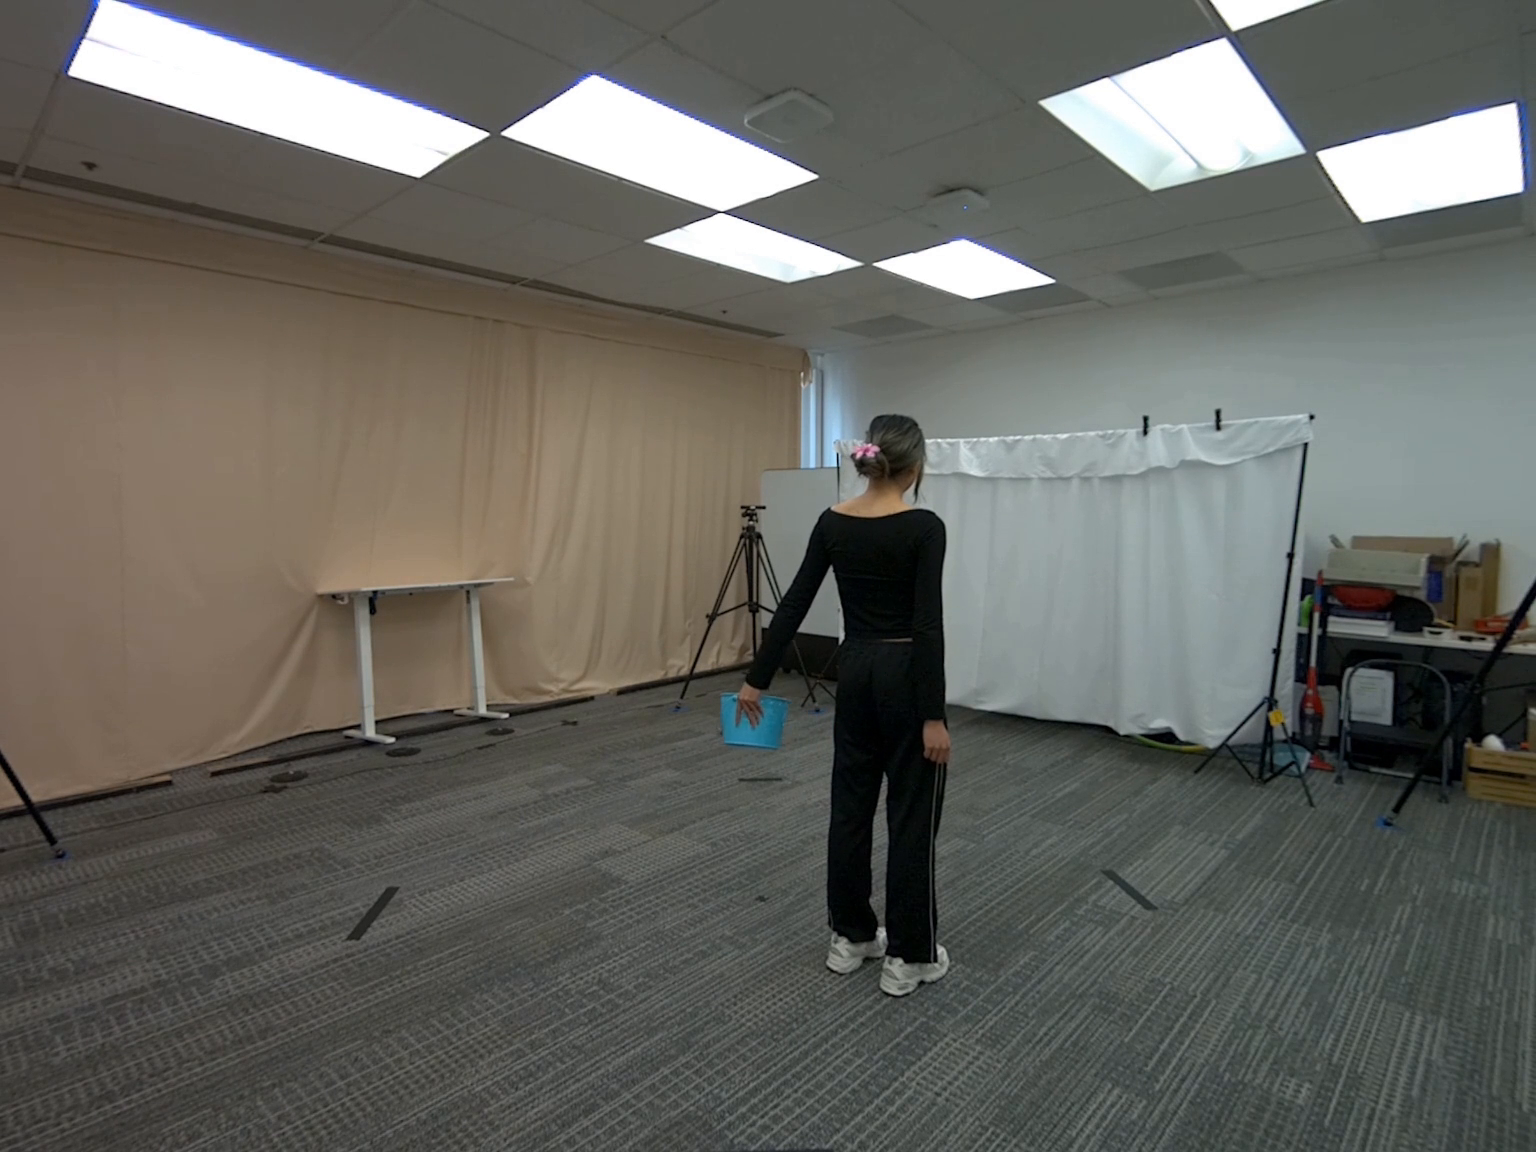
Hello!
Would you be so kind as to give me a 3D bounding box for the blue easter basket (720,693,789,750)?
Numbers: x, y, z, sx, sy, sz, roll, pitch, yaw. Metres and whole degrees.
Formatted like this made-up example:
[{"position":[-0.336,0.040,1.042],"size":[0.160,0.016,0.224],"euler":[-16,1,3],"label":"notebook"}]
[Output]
[{"position":[-0.046,0.474,2.712],"size":[0.244,0.157,0.242],"euler":[6,-13,0],"label":"blue easter basket"}]
